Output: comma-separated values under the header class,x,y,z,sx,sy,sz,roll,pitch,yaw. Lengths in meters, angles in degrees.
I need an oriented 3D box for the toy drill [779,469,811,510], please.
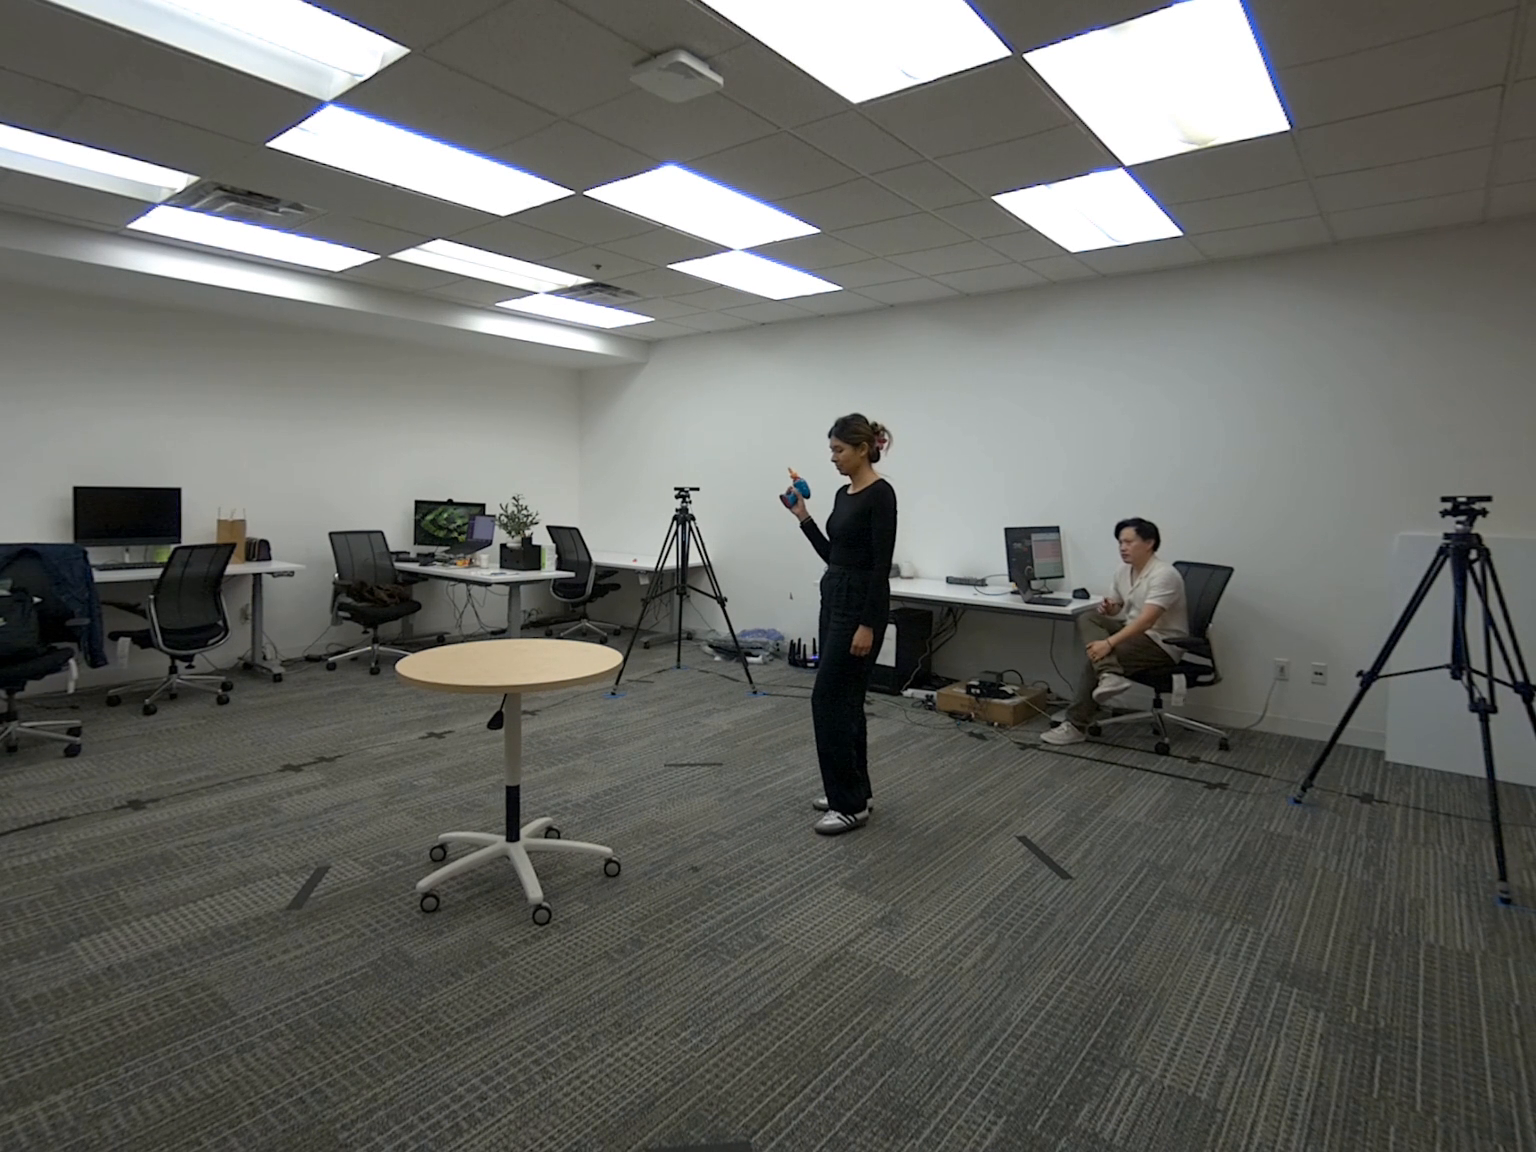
class,x,y,z,sx,sy,sz,roll,pitch,yaw
toy drill,0.102,-0.411,3.862,0.145,0.169,0.061,-35,2,-19
